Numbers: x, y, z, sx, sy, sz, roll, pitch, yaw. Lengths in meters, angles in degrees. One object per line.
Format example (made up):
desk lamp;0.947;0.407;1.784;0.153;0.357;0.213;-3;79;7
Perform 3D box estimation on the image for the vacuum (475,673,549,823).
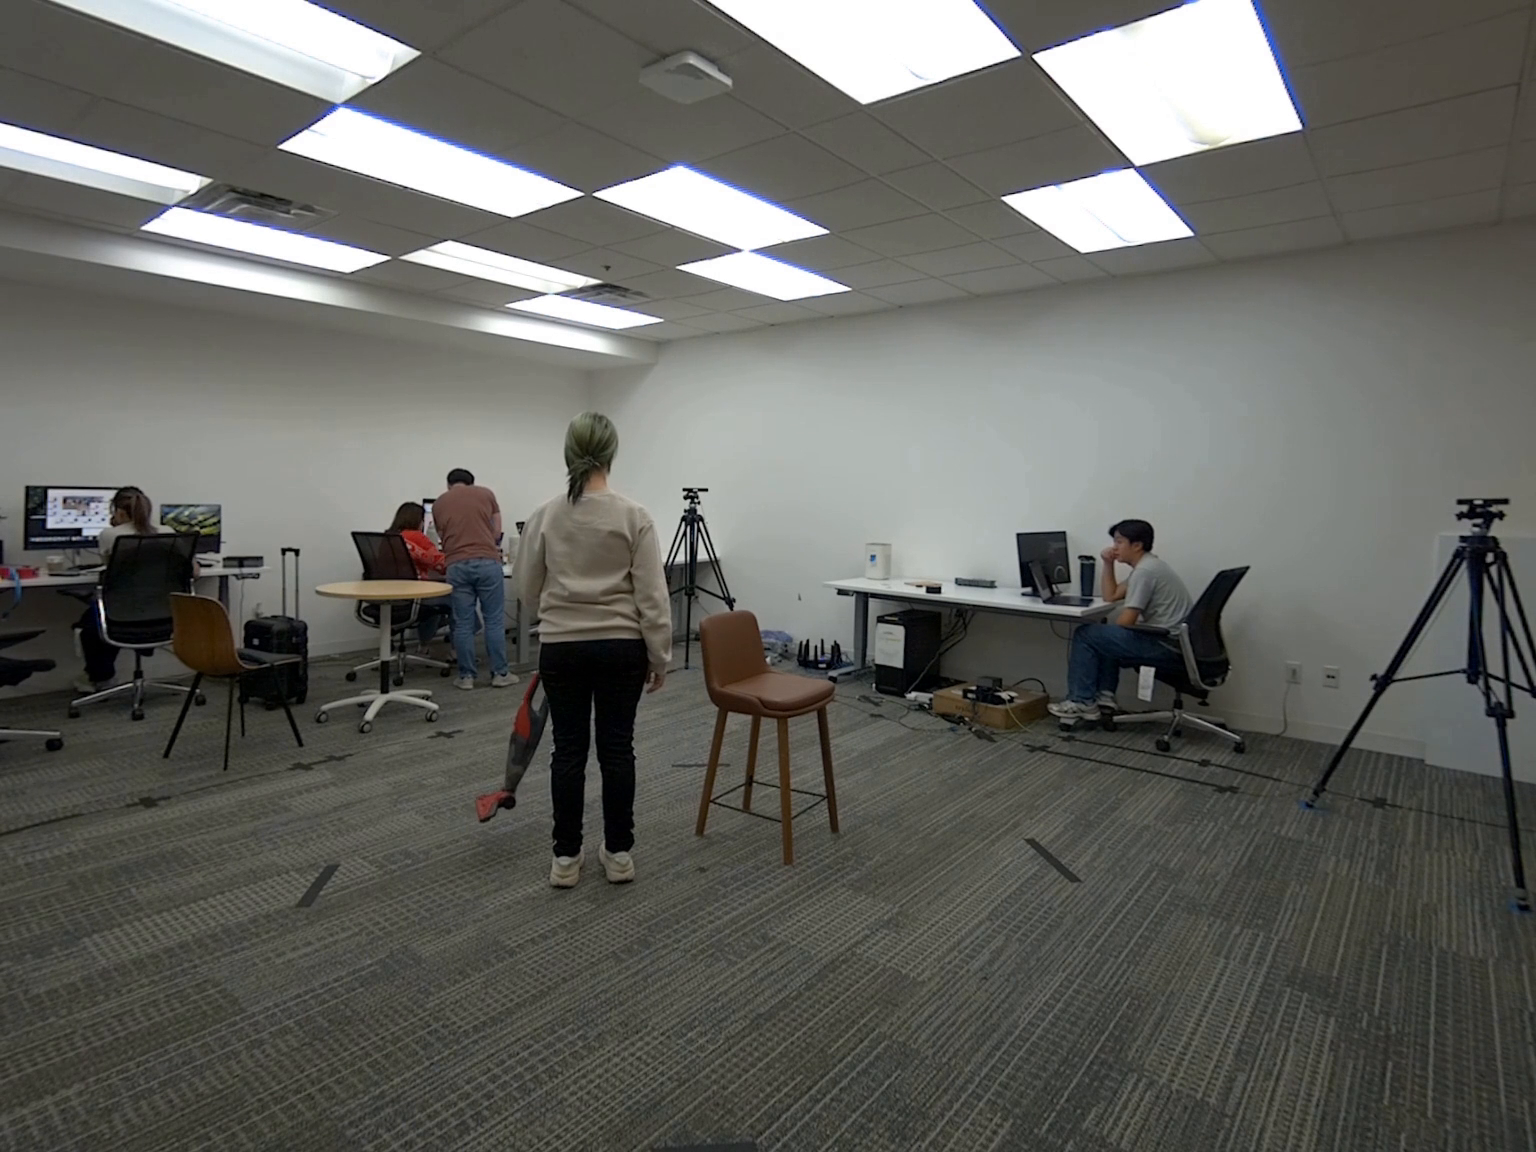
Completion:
vacuum;-0.857;0.382;3.314;0.139;1.054;0.259;26;-10;-27
